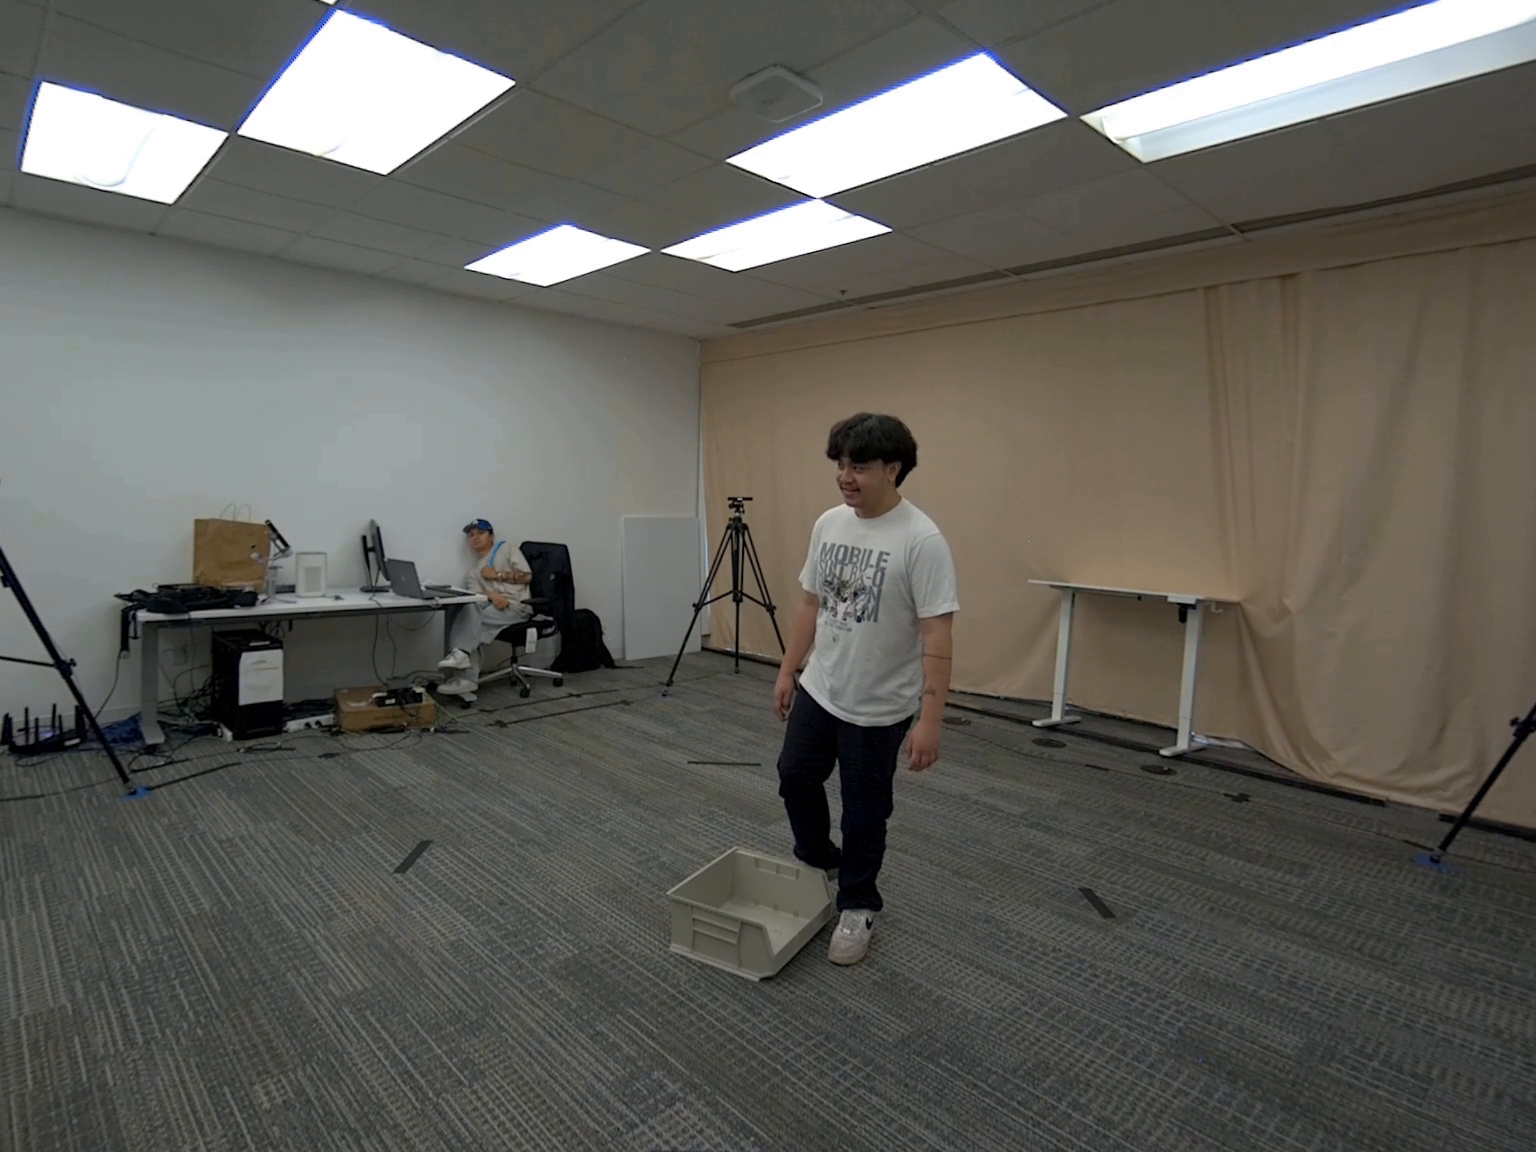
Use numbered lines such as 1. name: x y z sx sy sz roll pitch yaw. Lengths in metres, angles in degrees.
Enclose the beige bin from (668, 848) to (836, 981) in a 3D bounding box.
1. beige bin: -0.052 1.059 2.660 0.385 0.188 0.415 2 5 29
